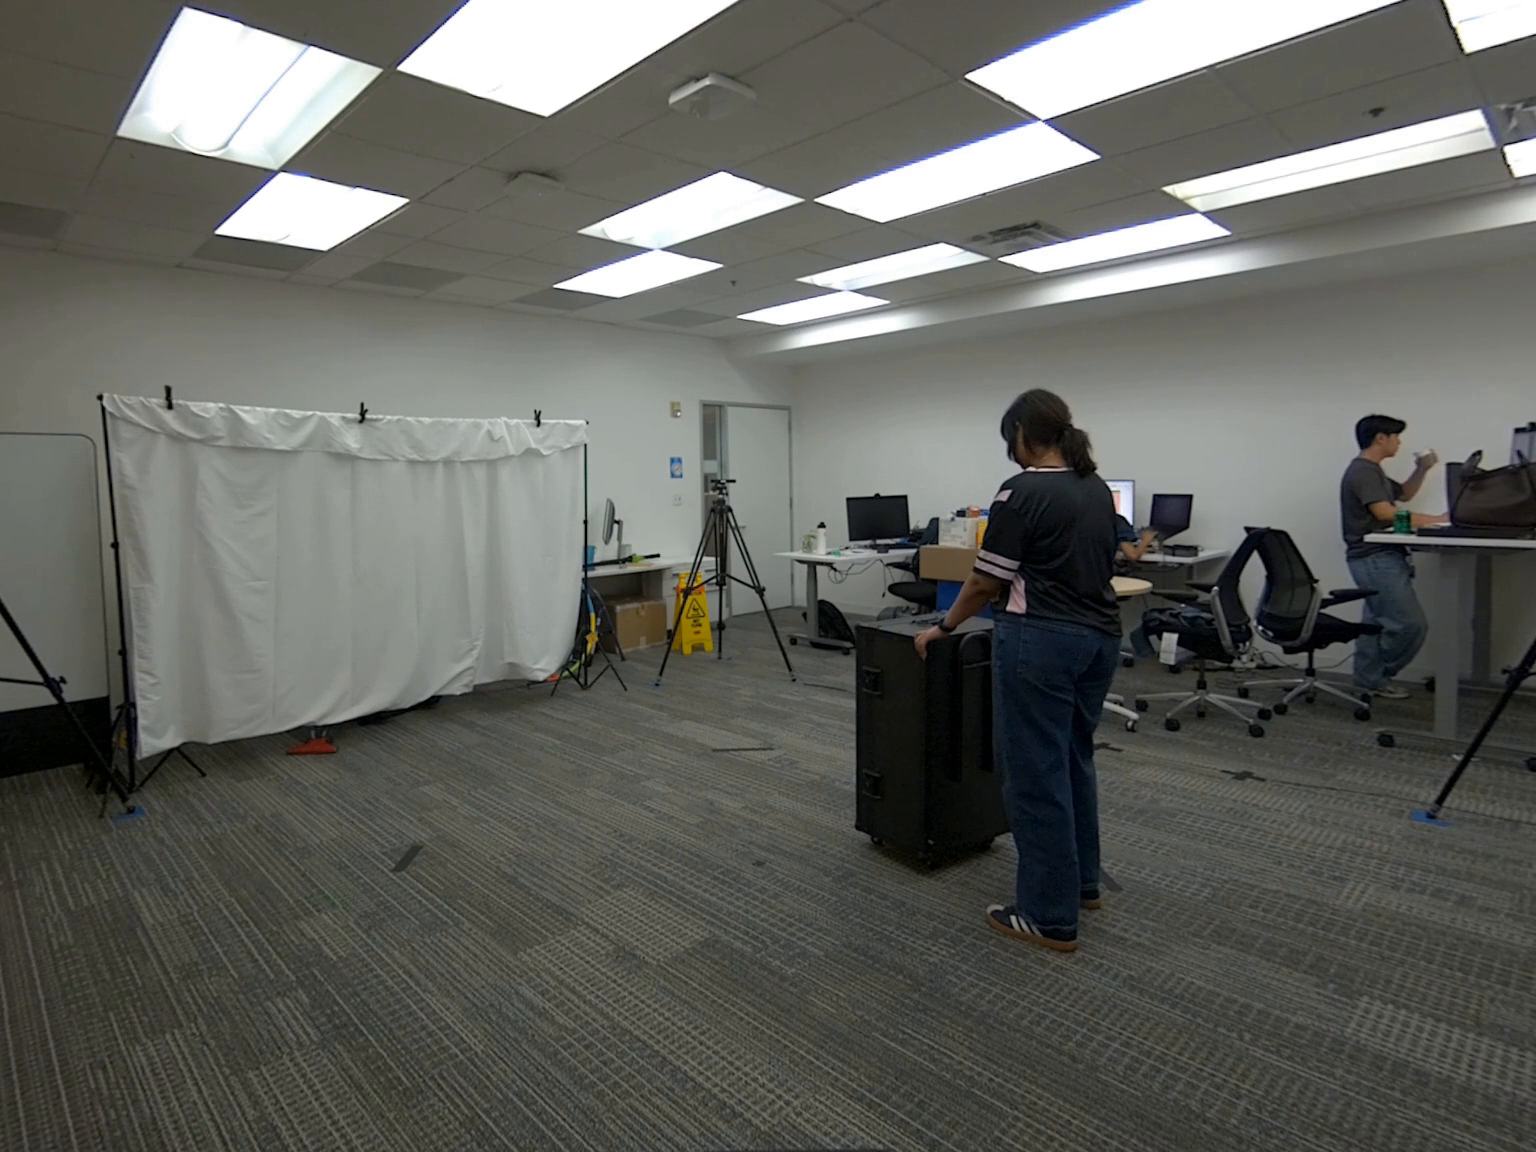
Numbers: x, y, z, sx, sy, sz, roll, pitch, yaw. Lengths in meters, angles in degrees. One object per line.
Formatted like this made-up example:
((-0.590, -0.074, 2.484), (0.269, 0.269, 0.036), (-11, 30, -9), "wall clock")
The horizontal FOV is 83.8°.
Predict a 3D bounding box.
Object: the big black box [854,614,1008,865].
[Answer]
((0.633, 0.605, 3.194), (0.510, 0.865, 0.397), (-4, 6, -35), "big black box")
